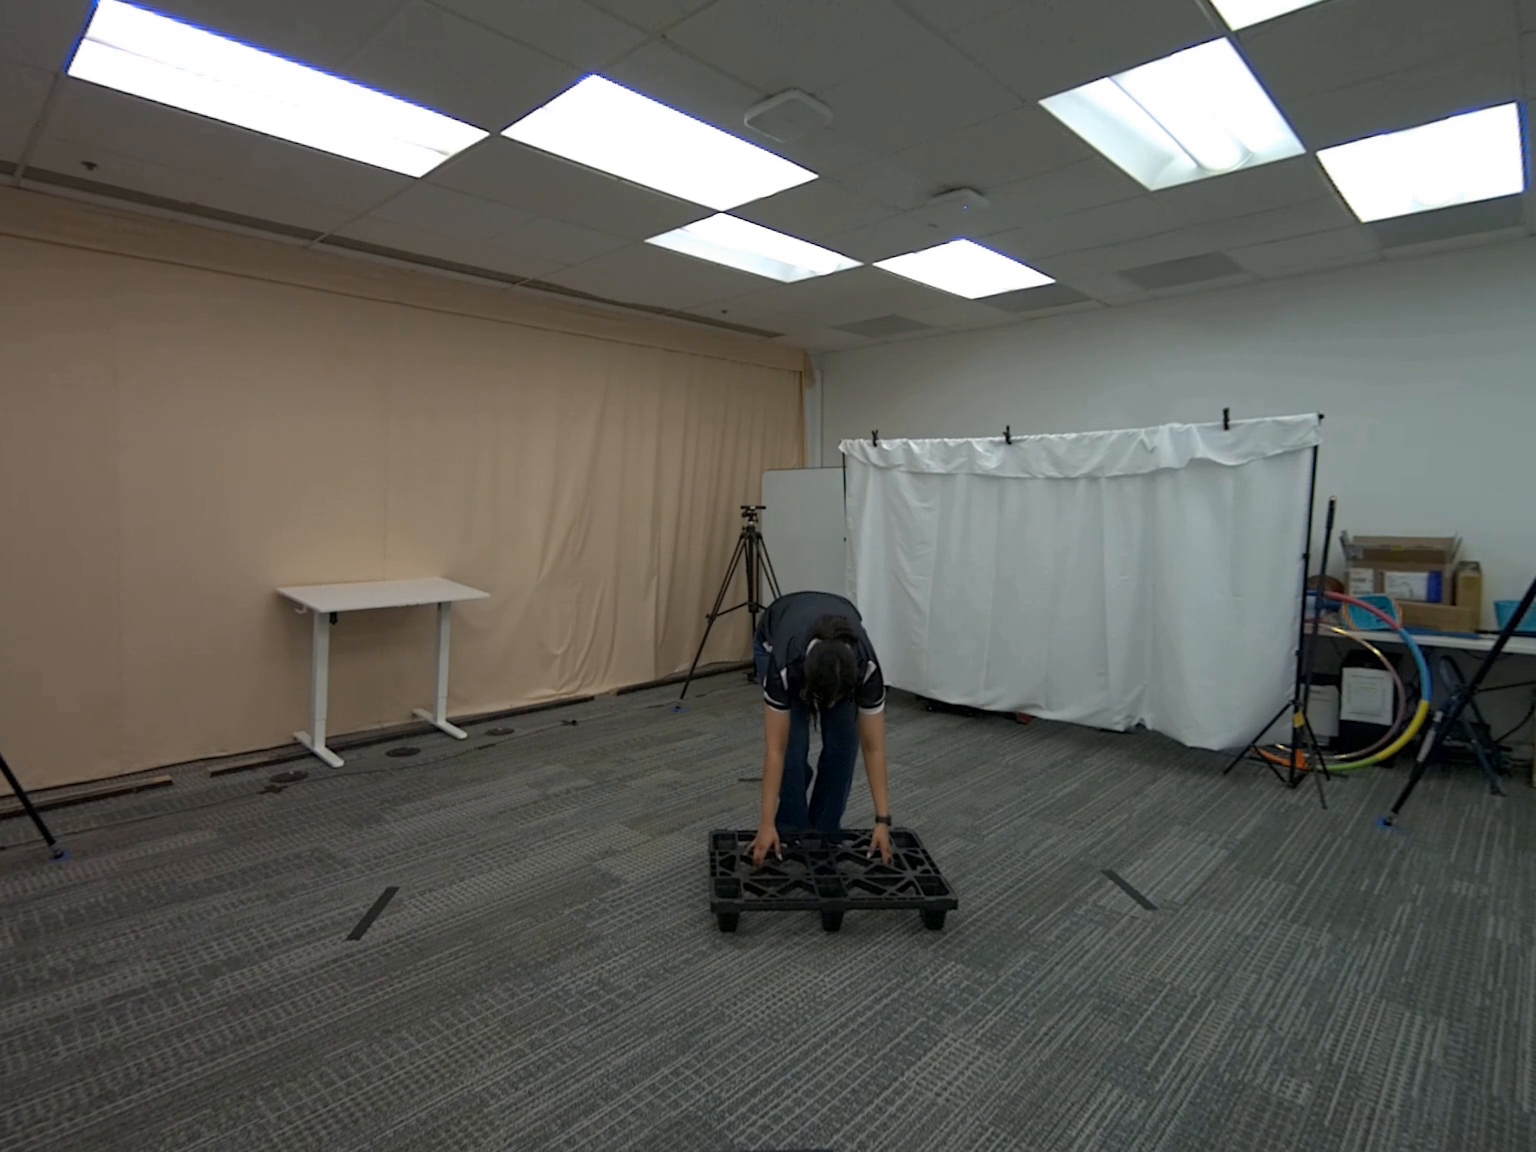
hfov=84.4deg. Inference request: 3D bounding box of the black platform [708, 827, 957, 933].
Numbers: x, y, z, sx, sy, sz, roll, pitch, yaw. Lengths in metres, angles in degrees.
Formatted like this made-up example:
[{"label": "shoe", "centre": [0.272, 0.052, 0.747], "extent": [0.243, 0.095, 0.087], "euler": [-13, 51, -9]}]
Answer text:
[{"label": "black platform", "centre": [0.196, 1.073, 2.977], "extent": [0.804, 0.143, 0.608], "euler": [-1, 5, -2]}]
